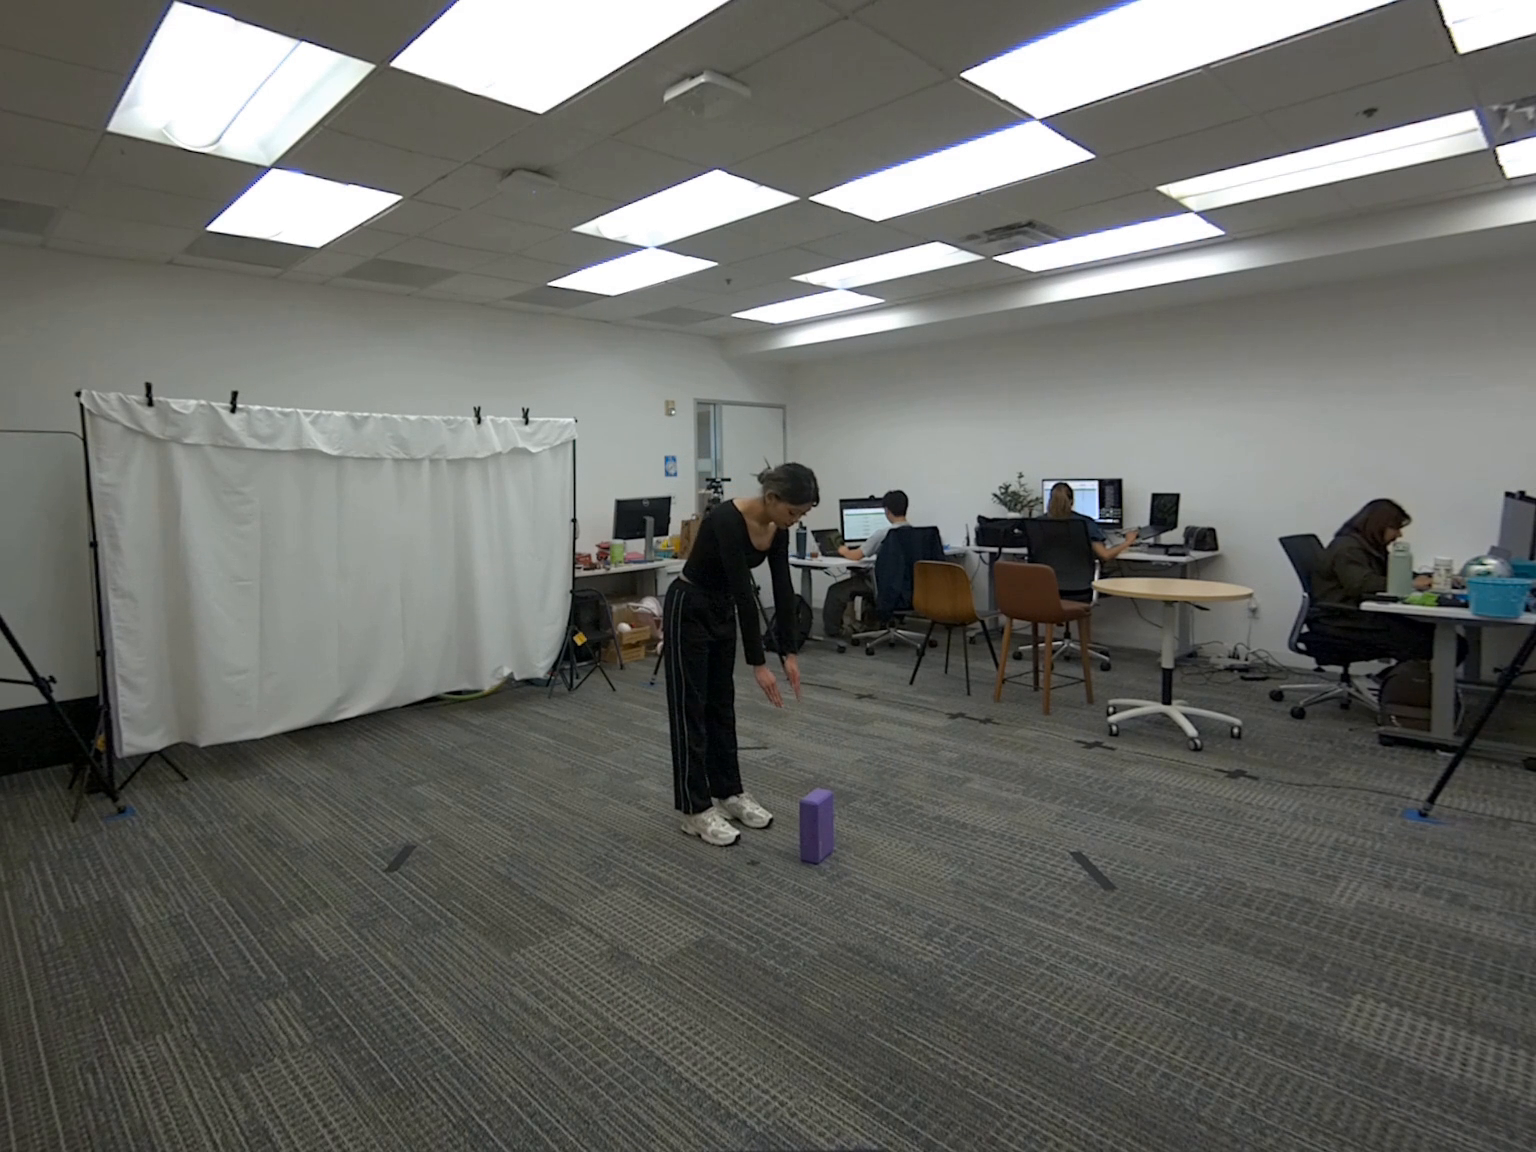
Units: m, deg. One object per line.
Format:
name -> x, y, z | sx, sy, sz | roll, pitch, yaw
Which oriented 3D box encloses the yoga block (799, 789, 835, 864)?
yoga block -> 0.184, 0.918, 3.148 | 0.078, 0.228, 0.146 | 2, 4, 29
